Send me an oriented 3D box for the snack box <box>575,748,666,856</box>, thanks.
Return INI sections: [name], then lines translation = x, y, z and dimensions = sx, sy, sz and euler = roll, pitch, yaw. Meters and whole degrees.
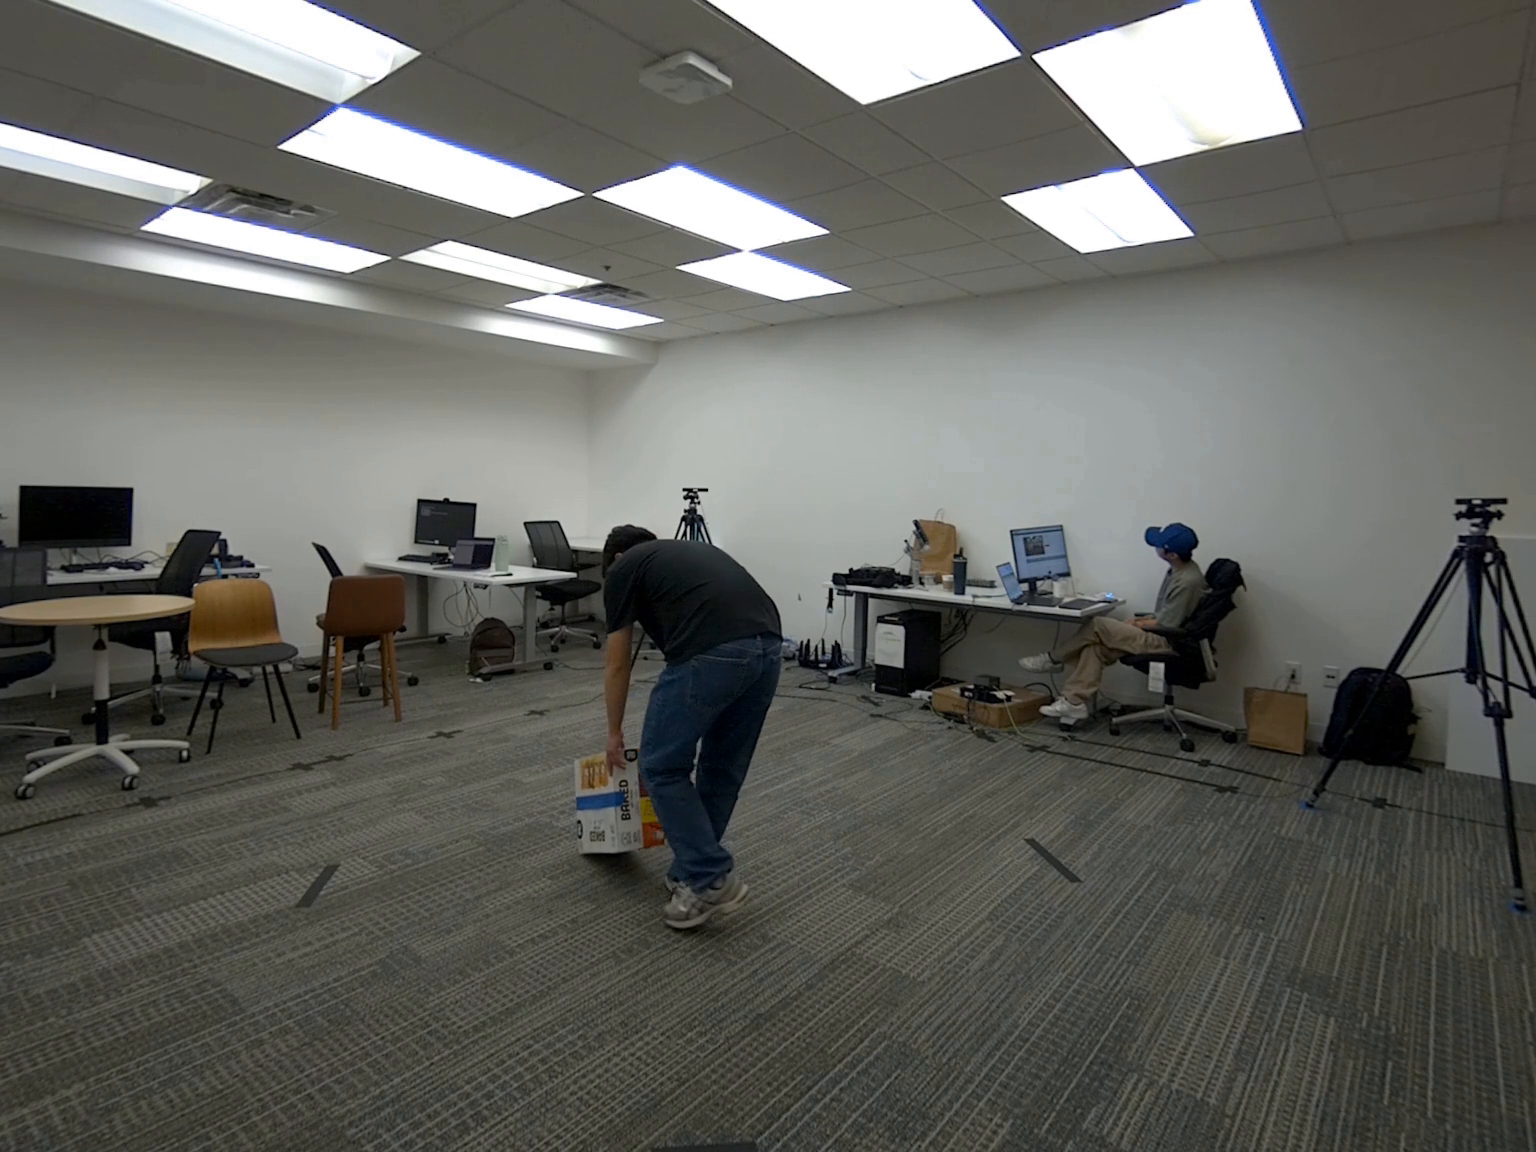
[snack box]
translation = -0.558, 0.829, 3.146
dimensions = 0.200, 0.346, 0.410
euler = 4, -18, -32
